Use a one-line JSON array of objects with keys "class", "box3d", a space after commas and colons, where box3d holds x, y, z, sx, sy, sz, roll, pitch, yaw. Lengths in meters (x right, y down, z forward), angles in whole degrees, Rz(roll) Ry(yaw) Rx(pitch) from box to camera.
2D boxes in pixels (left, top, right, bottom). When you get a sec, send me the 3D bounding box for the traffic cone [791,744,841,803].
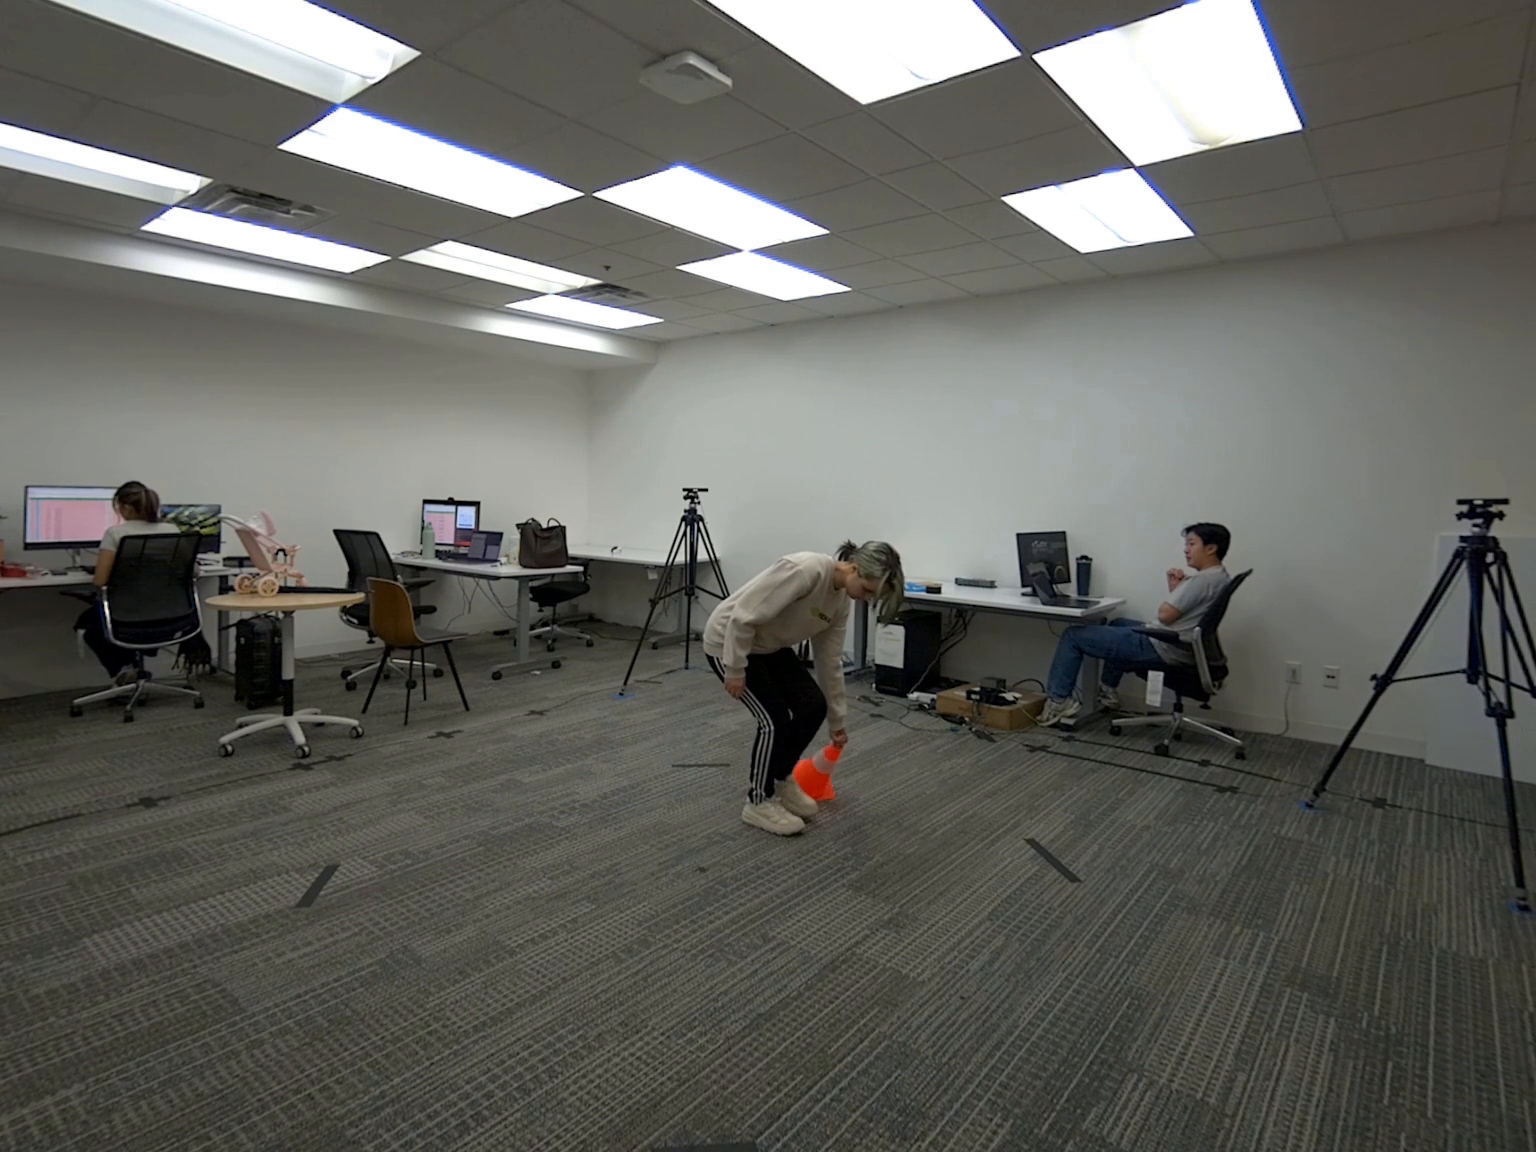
[{"class": "traffic cone", "box3d": [0.244, 0.815, 3.755, 0.200, 0.210, 0.379, 3, -39, -24]}]
